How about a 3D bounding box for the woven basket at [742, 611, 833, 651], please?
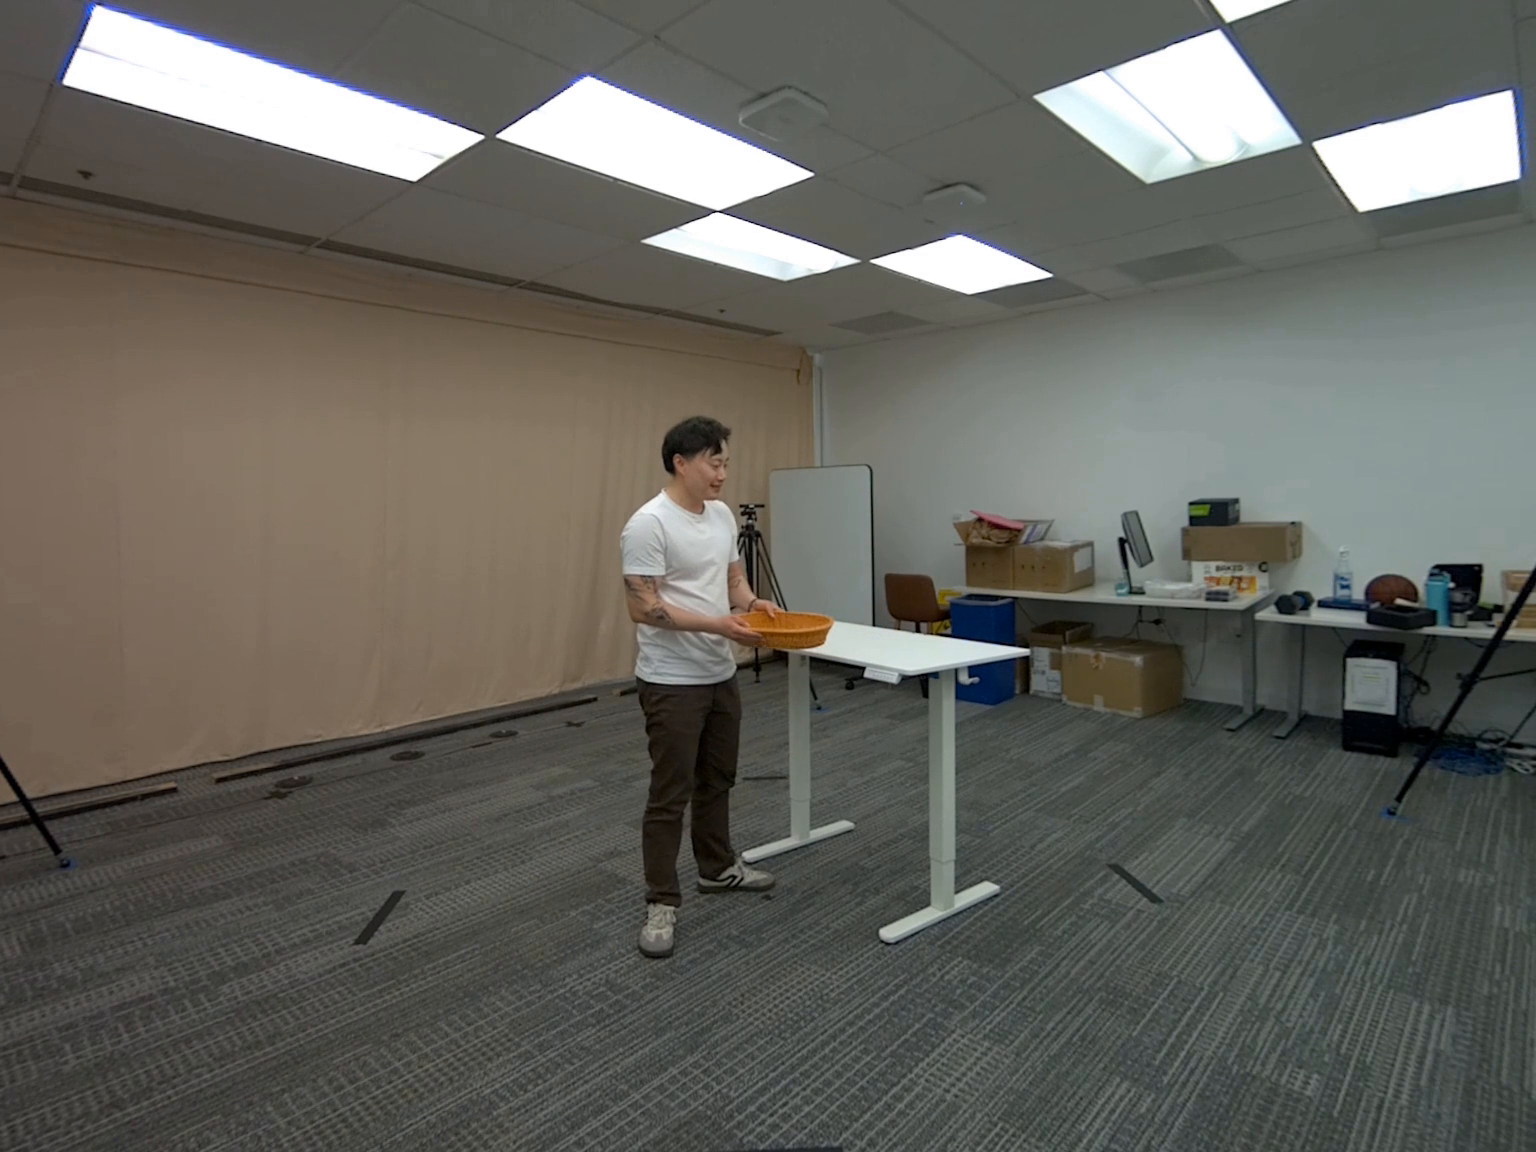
[{"bbox_3d":[0.023,0.182,2.618,0.357,0.073,0.249,1,10,17],"label":"woven basket"}]
